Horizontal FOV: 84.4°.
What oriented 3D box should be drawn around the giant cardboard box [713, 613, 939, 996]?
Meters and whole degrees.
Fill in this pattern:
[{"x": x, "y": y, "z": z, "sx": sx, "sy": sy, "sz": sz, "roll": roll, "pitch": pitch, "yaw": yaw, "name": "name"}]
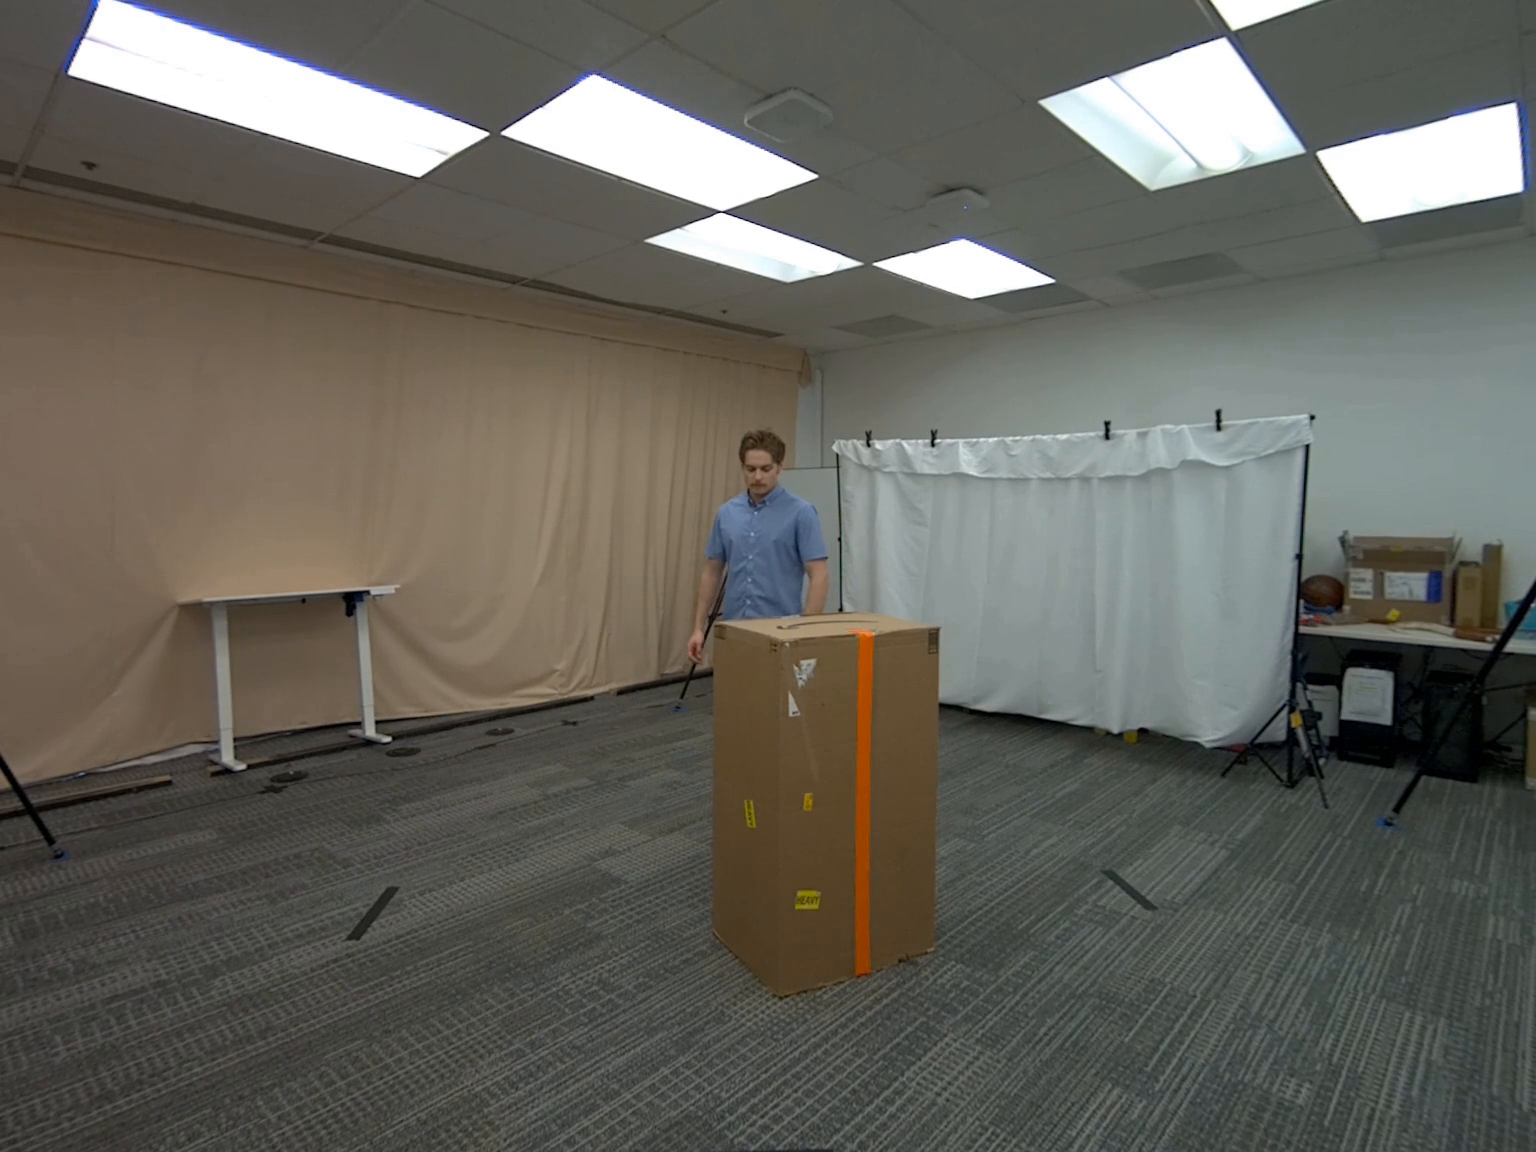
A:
[{"x": 0.182, "y": 0.659, "z": 2.664, "sx": 0.562, "sy": 1.024, "sz": 0.438, "roll": -2, "pitch": 3, "yaw": -29, "name": "giant cardboard box"}]
